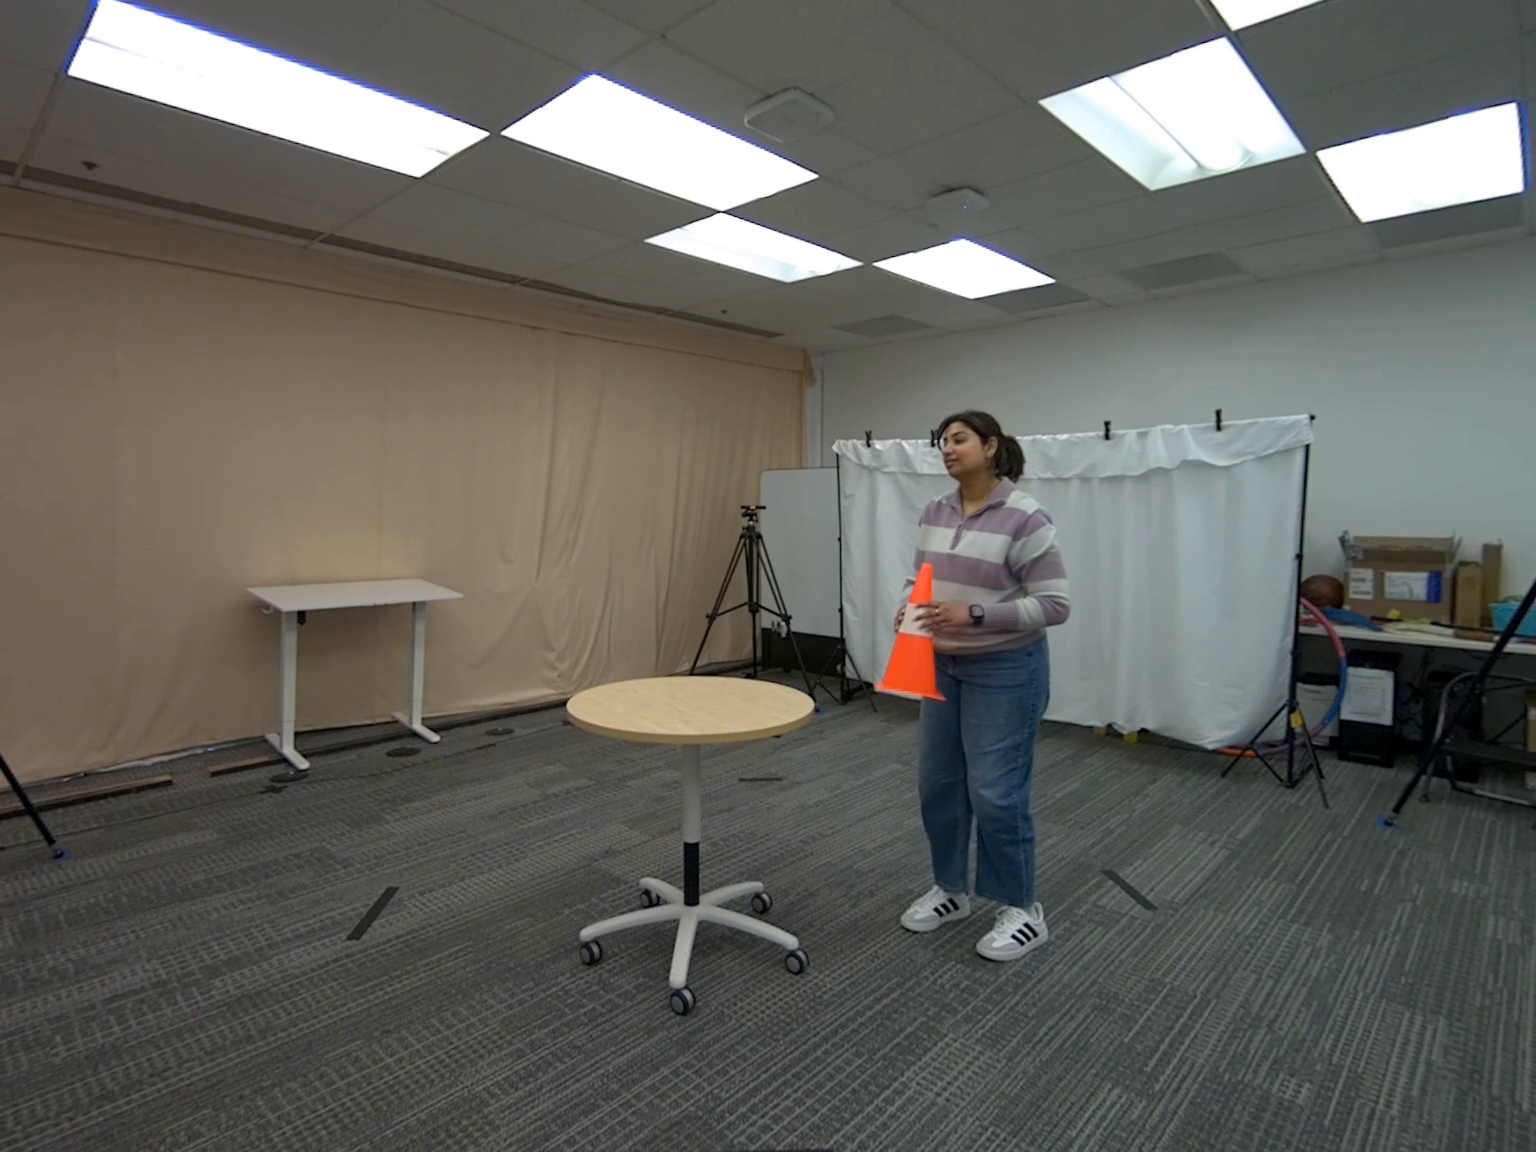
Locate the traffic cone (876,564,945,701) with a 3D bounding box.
[{"bbox_3d":[0.464,0.164,2.526,0.201,0.384,0.207,7,-3,-11],"label":"traffic cone"}]
